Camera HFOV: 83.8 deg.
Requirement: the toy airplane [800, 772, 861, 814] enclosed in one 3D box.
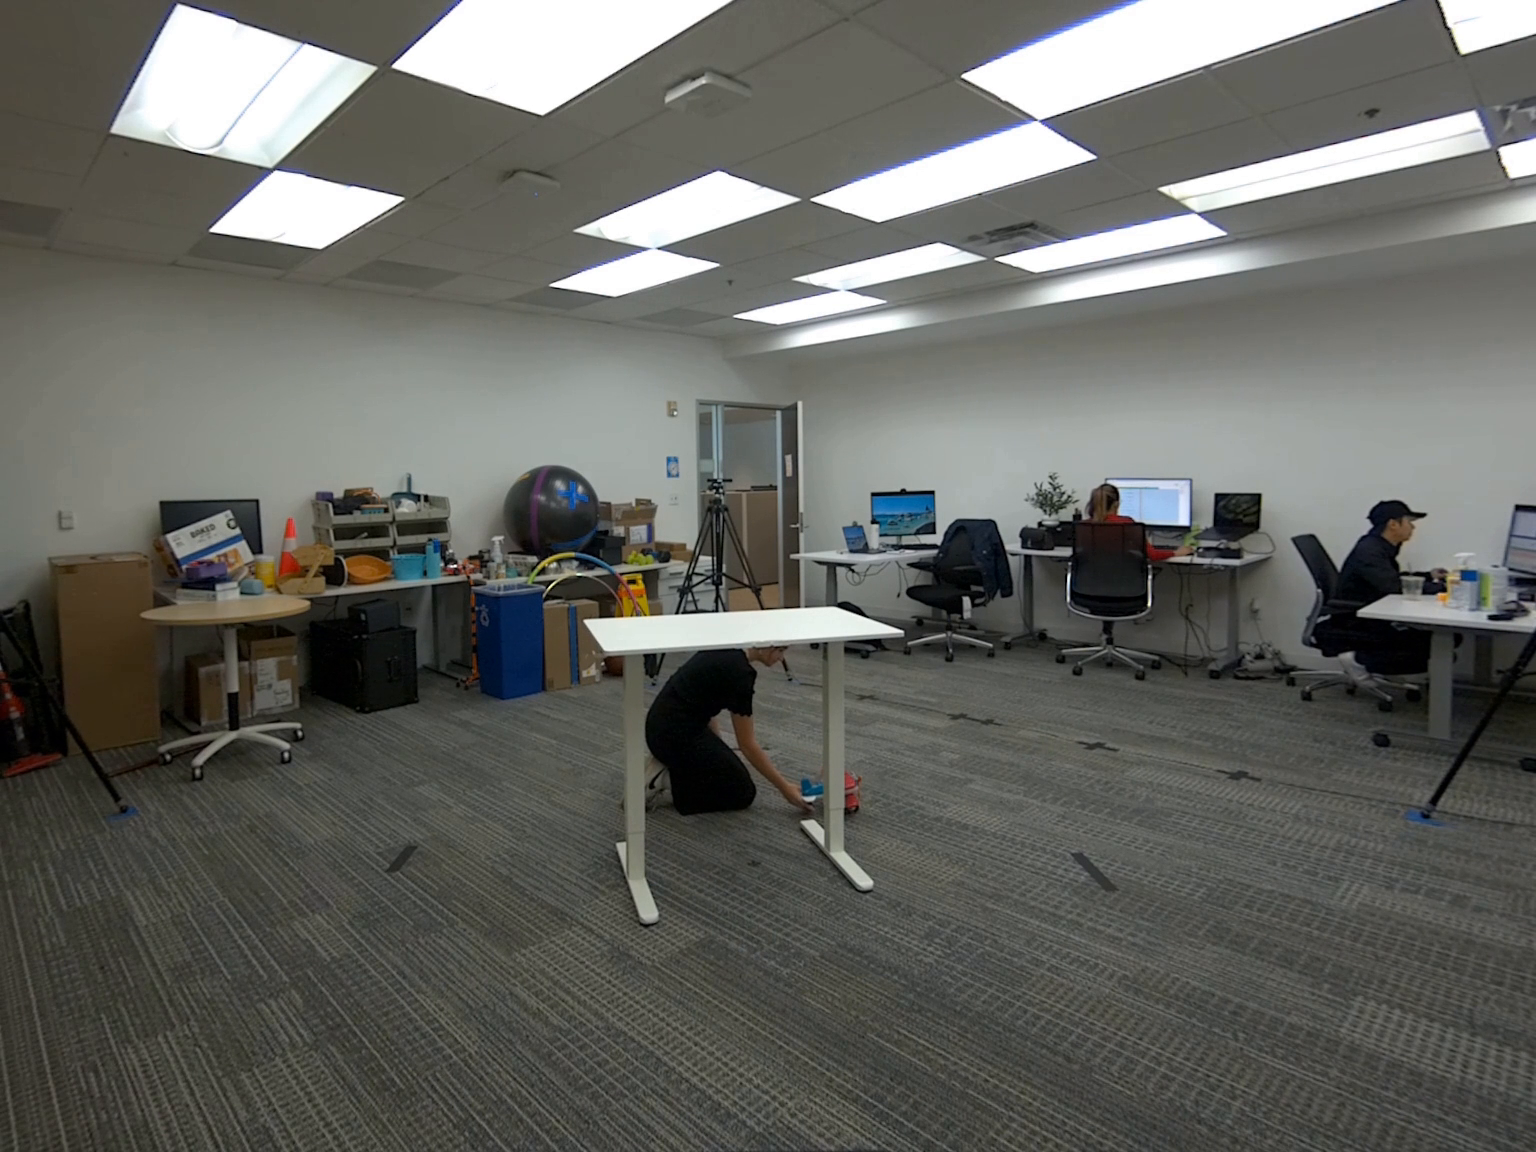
[{"bbox_3d":[0.267,0.905,3.564,0.251,0.156,0.259,4,2,-43],"label":"toy airplane"}]
